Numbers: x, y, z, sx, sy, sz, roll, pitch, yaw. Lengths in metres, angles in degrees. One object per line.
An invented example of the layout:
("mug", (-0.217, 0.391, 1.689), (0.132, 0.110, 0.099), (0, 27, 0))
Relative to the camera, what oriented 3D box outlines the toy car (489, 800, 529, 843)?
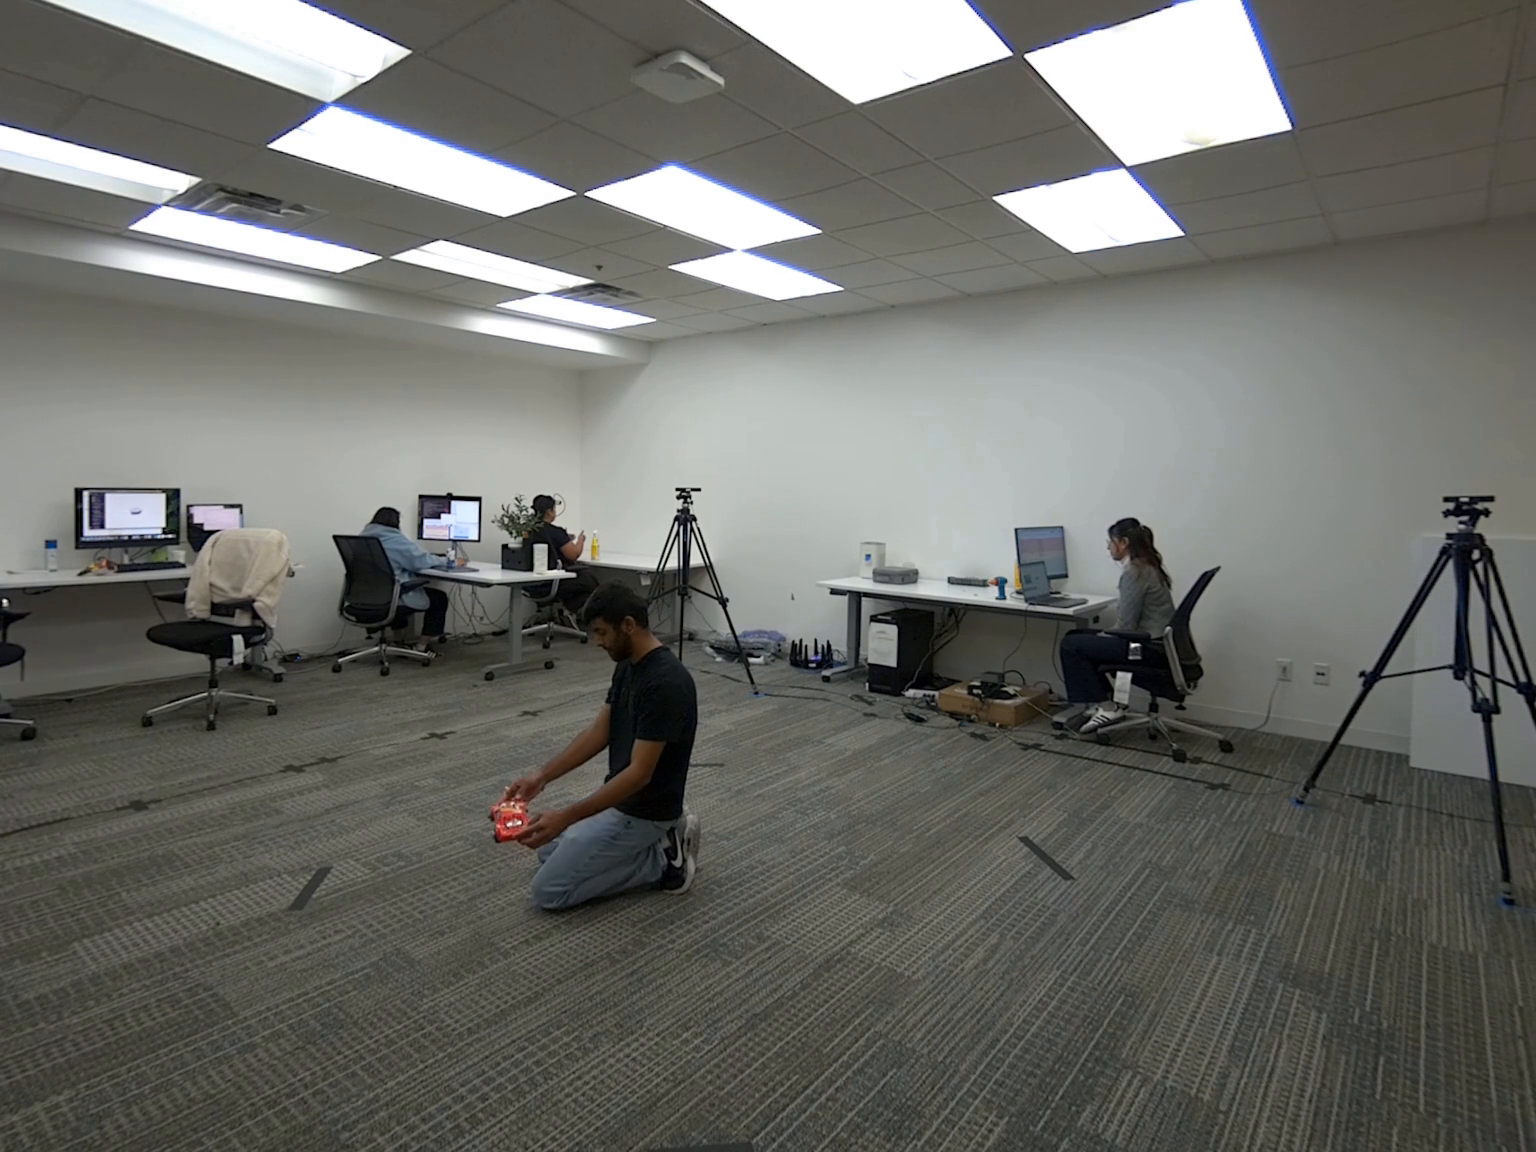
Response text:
("toy car", (-0.815, 0.772, 2.677), (0.128, 0.083, 0.259), (-4, 1, -21))
